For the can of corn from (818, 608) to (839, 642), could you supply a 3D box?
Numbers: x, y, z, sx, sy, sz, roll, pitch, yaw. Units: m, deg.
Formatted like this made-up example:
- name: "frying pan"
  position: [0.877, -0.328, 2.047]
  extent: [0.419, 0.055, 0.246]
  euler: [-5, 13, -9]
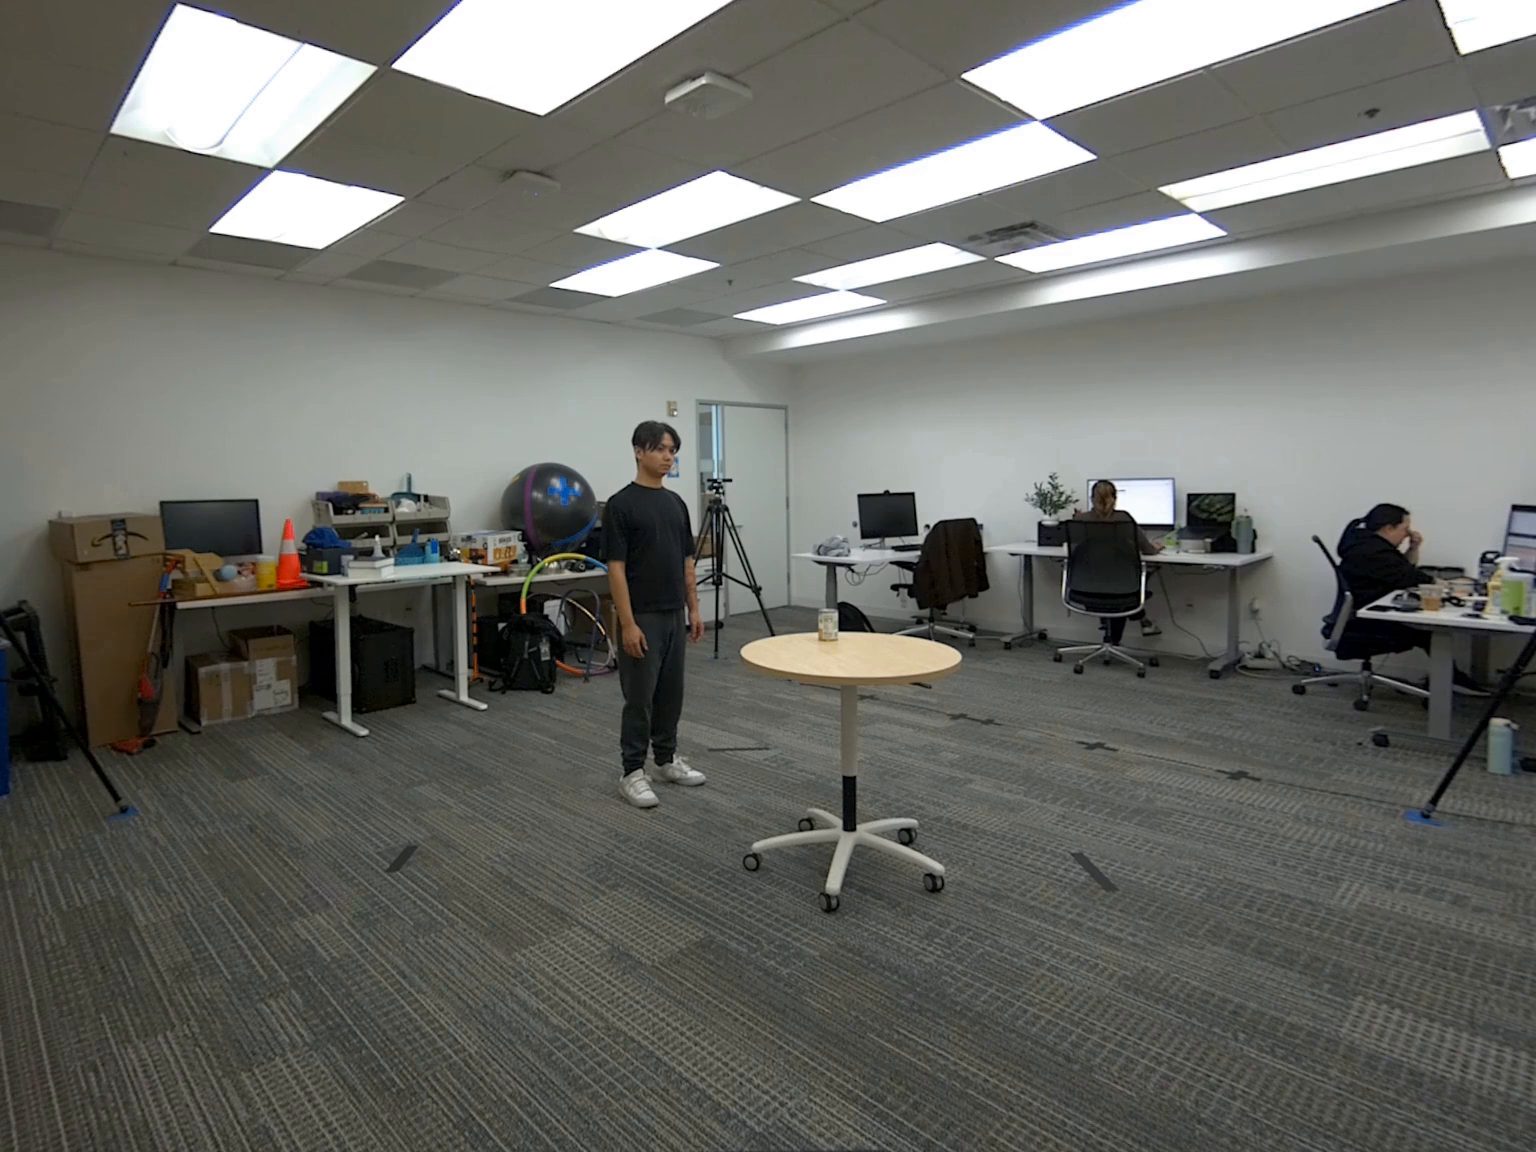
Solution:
- name: "can of corn"
  position: [0.231, 0.187, 3.231]
  extent: [0.074, 0.110, 0.074]
  euler: [-1, 5, -2]
